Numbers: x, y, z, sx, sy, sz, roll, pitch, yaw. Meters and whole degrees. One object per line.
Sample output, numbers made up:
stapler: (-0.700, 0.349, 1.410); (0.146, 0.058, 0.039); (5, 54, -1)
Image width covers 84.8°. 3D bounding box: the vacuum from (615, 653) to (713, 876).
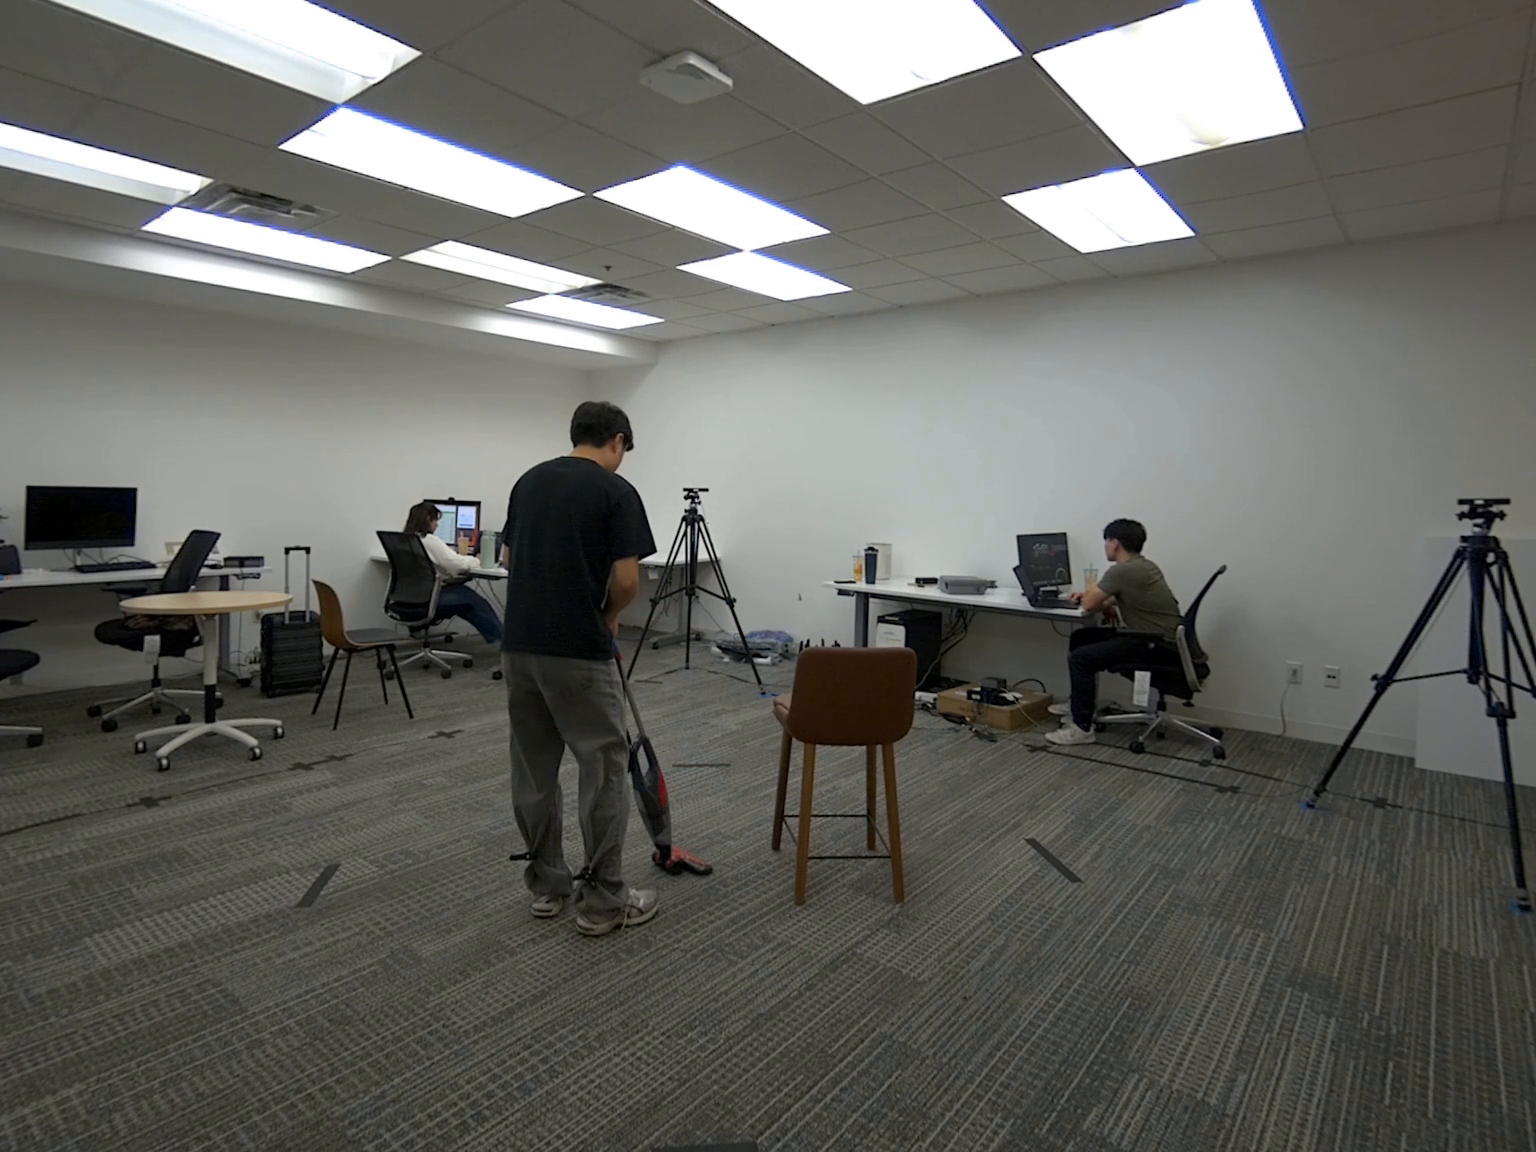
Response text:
vacuum: (-0.470, 0.590, 3.005); (0.142, 1.030, 0.261); (-27, 19, -37)
